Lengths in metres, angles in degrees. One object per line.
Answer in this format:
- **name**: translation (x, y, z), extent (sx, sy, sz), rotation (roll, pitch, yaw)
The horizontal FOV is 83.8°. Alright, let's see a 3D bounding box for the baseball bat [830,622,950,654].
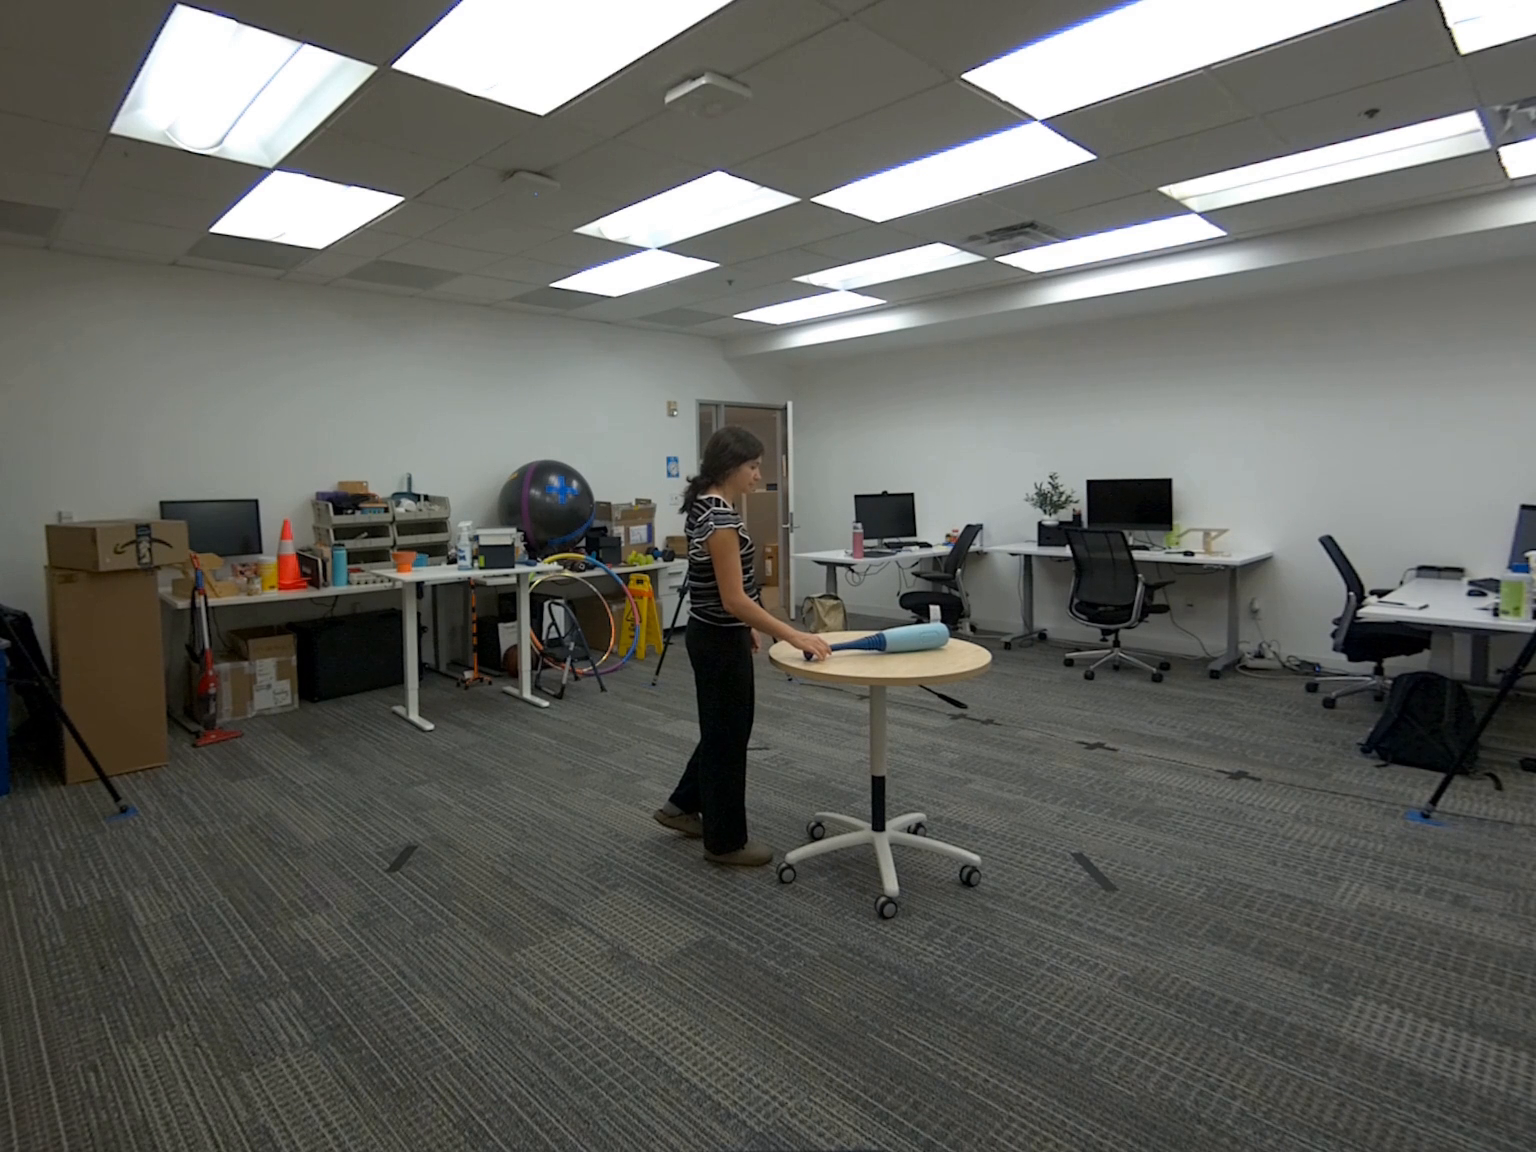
- **baseball bat**: translation (0.375, 0.231, 2.963), extent (0.535, 0.088, 0.091), rotation (-6, 6, -17)
